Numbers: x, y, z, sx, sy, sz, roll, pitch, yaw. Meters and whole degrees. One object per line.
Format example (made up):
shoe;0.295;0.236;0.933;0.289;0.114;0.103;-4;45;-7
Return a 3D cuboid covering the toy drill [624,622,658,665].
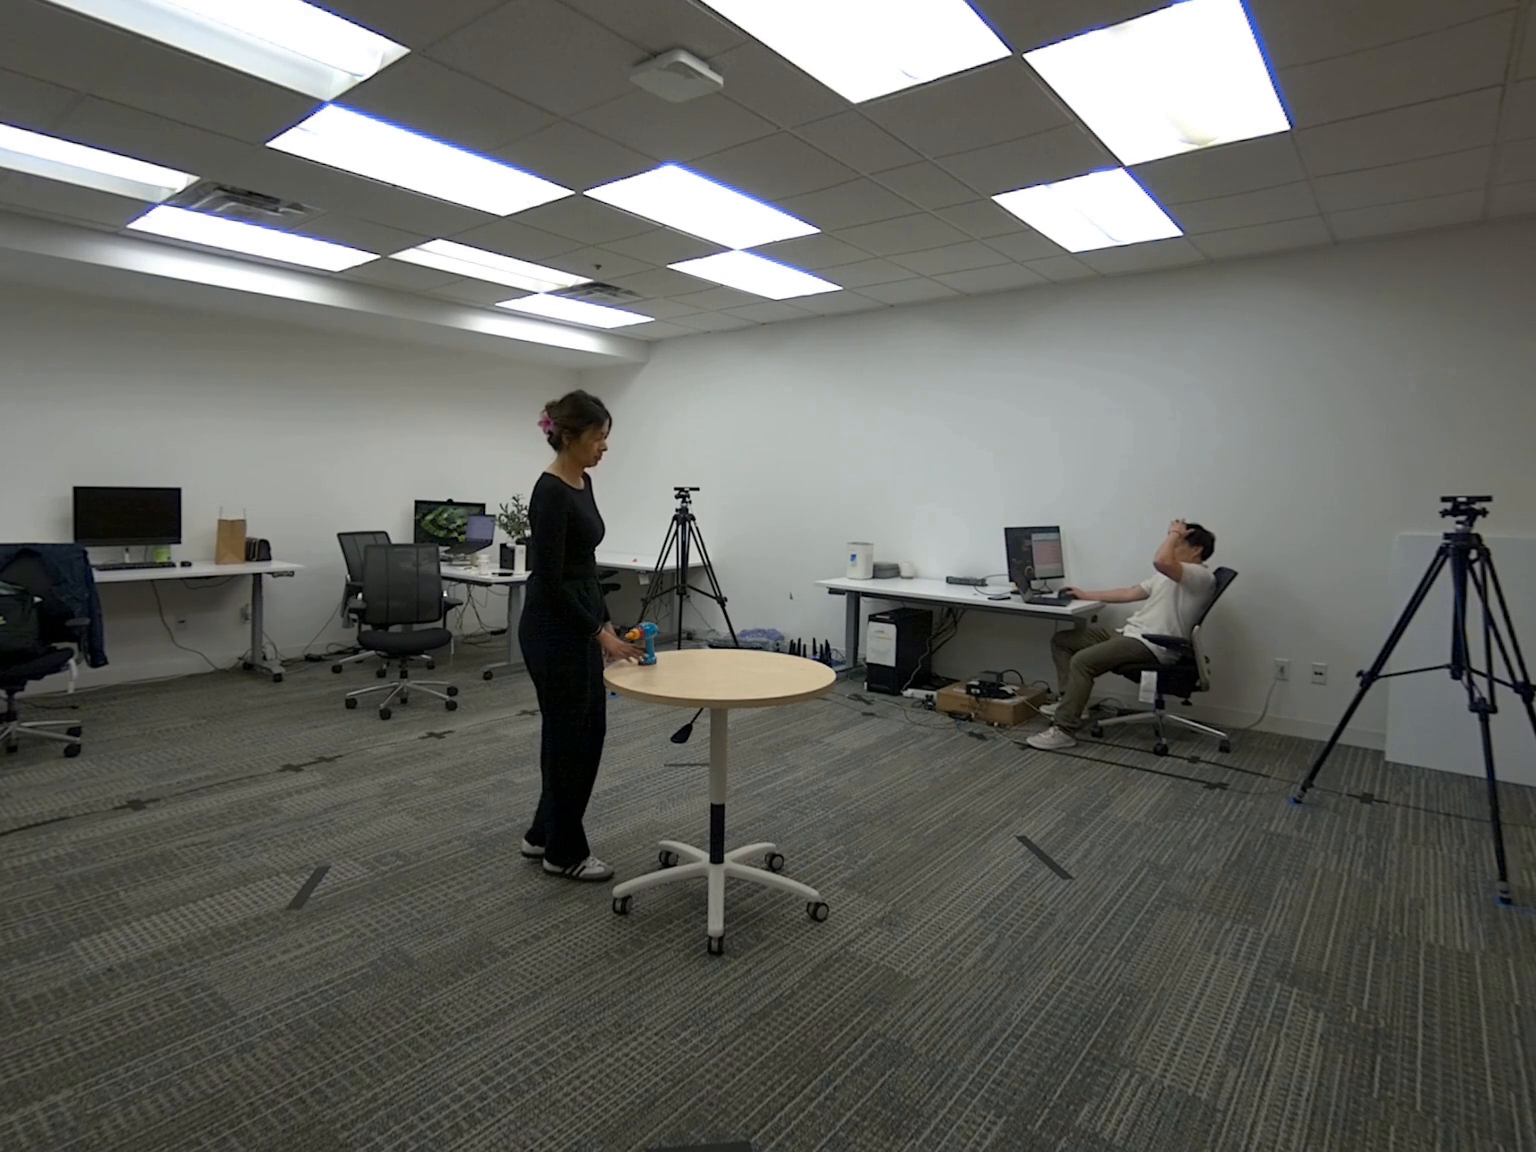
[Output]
toy drill;-0.450;0.237;2.884;0.063;0.145;0.166;1;6;30
